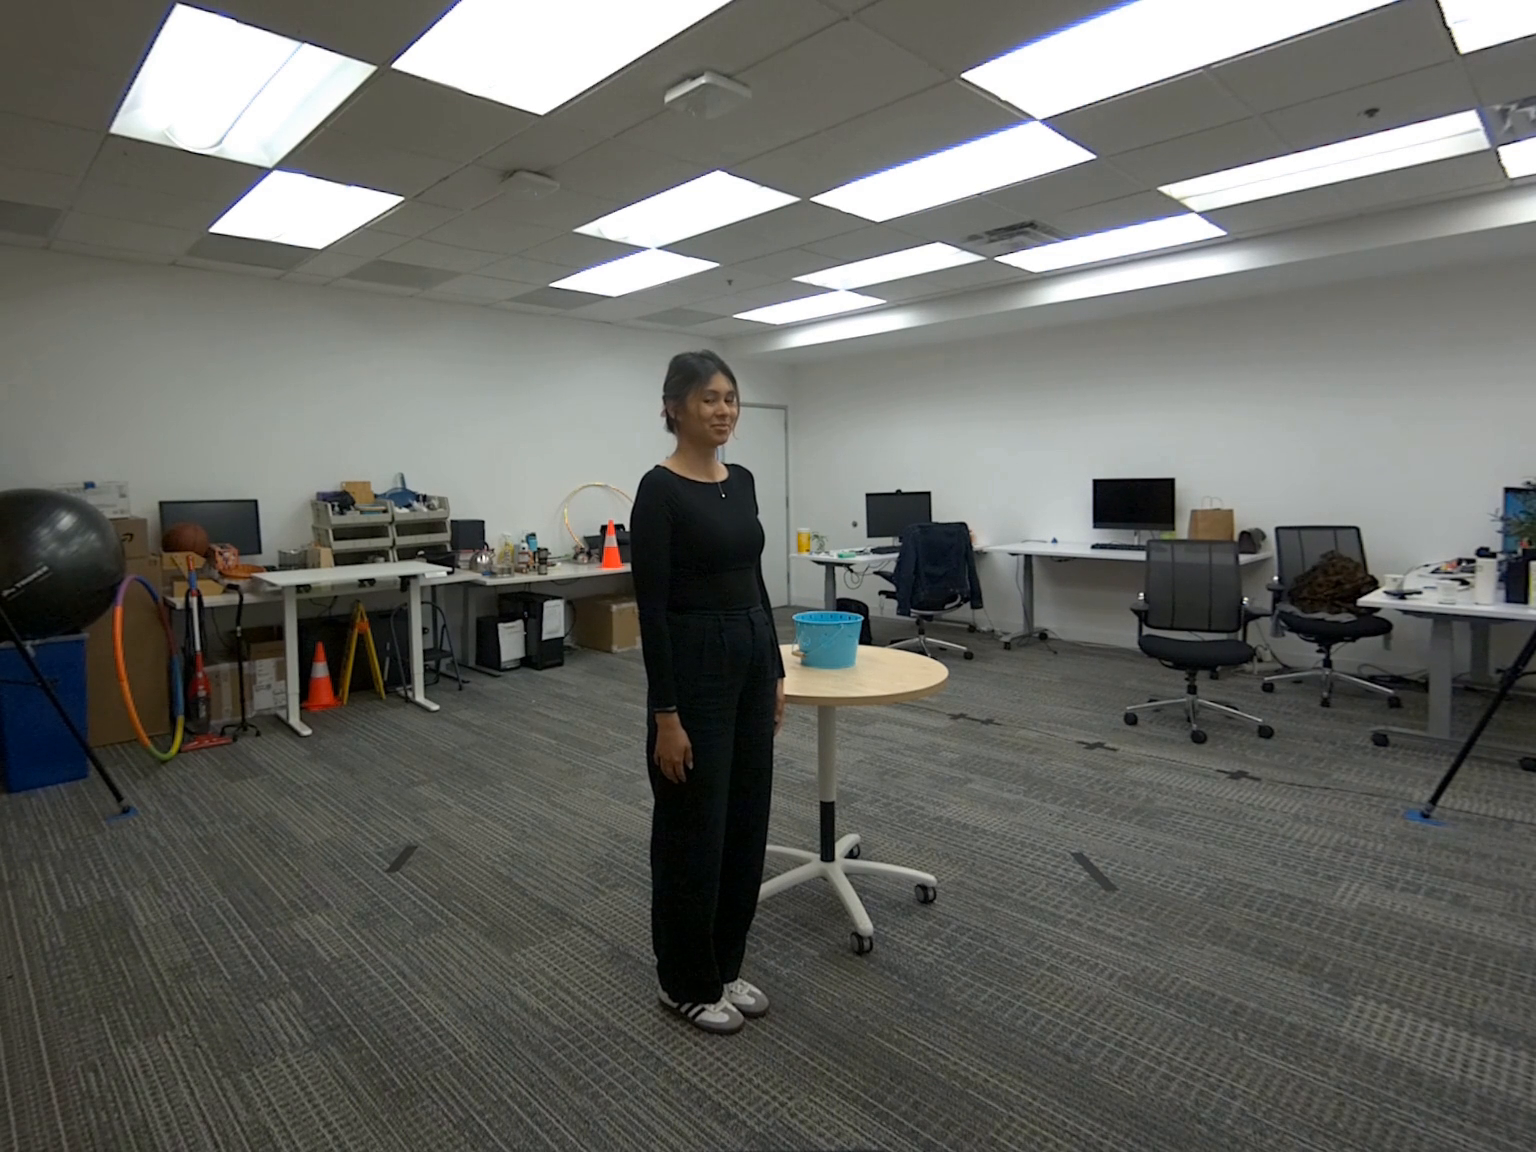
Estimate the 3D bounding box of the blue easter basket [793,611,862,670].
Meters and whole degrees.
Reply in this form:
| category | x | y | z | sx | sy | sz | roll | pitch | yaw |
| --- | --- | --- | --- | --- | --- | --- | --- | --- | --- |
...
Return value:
| category | x | y | z | sx | sy | sz | roll | pitch | yaw |
| --- | --- | --- | --- | --- | --- | --- | --- | --- | --- |
| blue easter basket | 0.200 | 0.216 | 2.832 | 0.243 | 0.155 | 0.245 | 0 | 6 | -2 |
